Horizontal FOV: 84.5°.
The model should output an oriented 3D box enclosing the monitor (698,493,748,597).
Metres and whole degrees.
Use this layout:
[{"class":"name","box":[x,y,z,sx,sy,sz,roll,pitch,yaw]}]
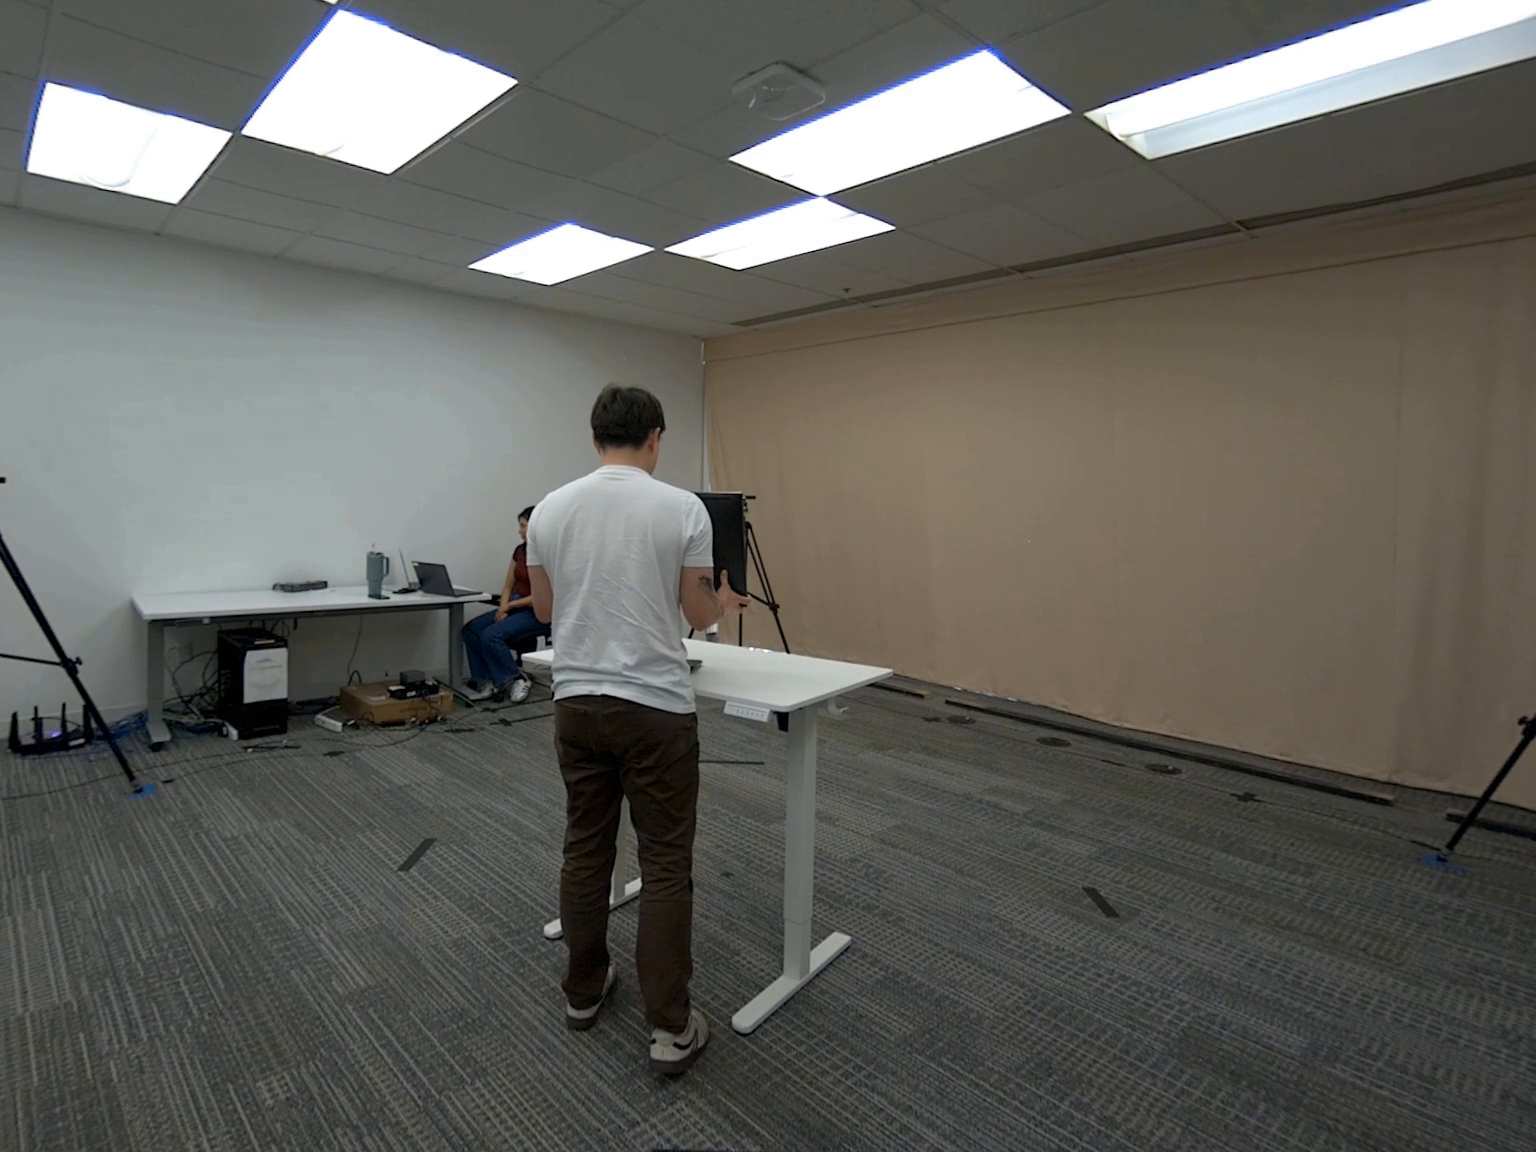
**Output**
[{"class":"monitor","box":[-0.340,0.014,2.478,0.544,0.522,0.185,3,2,11]}]
